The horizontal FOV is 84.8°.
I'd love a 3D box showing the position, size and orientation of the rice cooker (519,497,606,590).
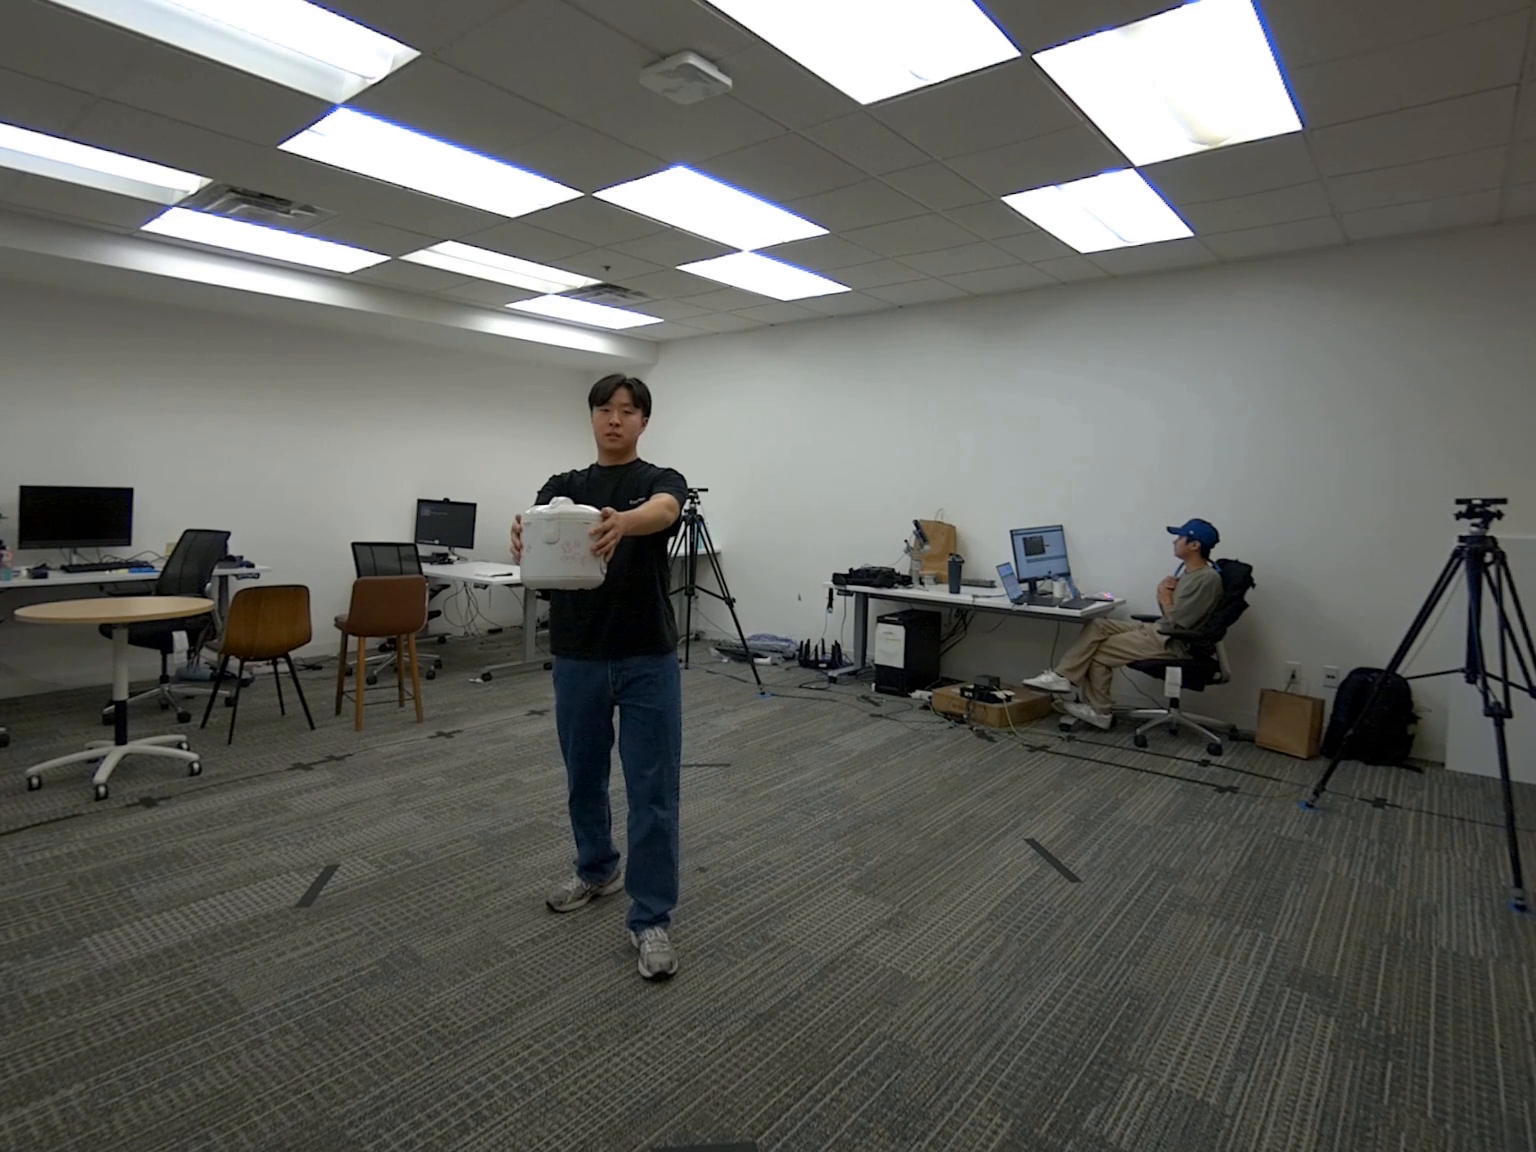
[{"bbox_3d":[-0.523,-0.092,2.151,0.219,0.233,0.219,-1,-1,5],"label":"rice cooker"}]
